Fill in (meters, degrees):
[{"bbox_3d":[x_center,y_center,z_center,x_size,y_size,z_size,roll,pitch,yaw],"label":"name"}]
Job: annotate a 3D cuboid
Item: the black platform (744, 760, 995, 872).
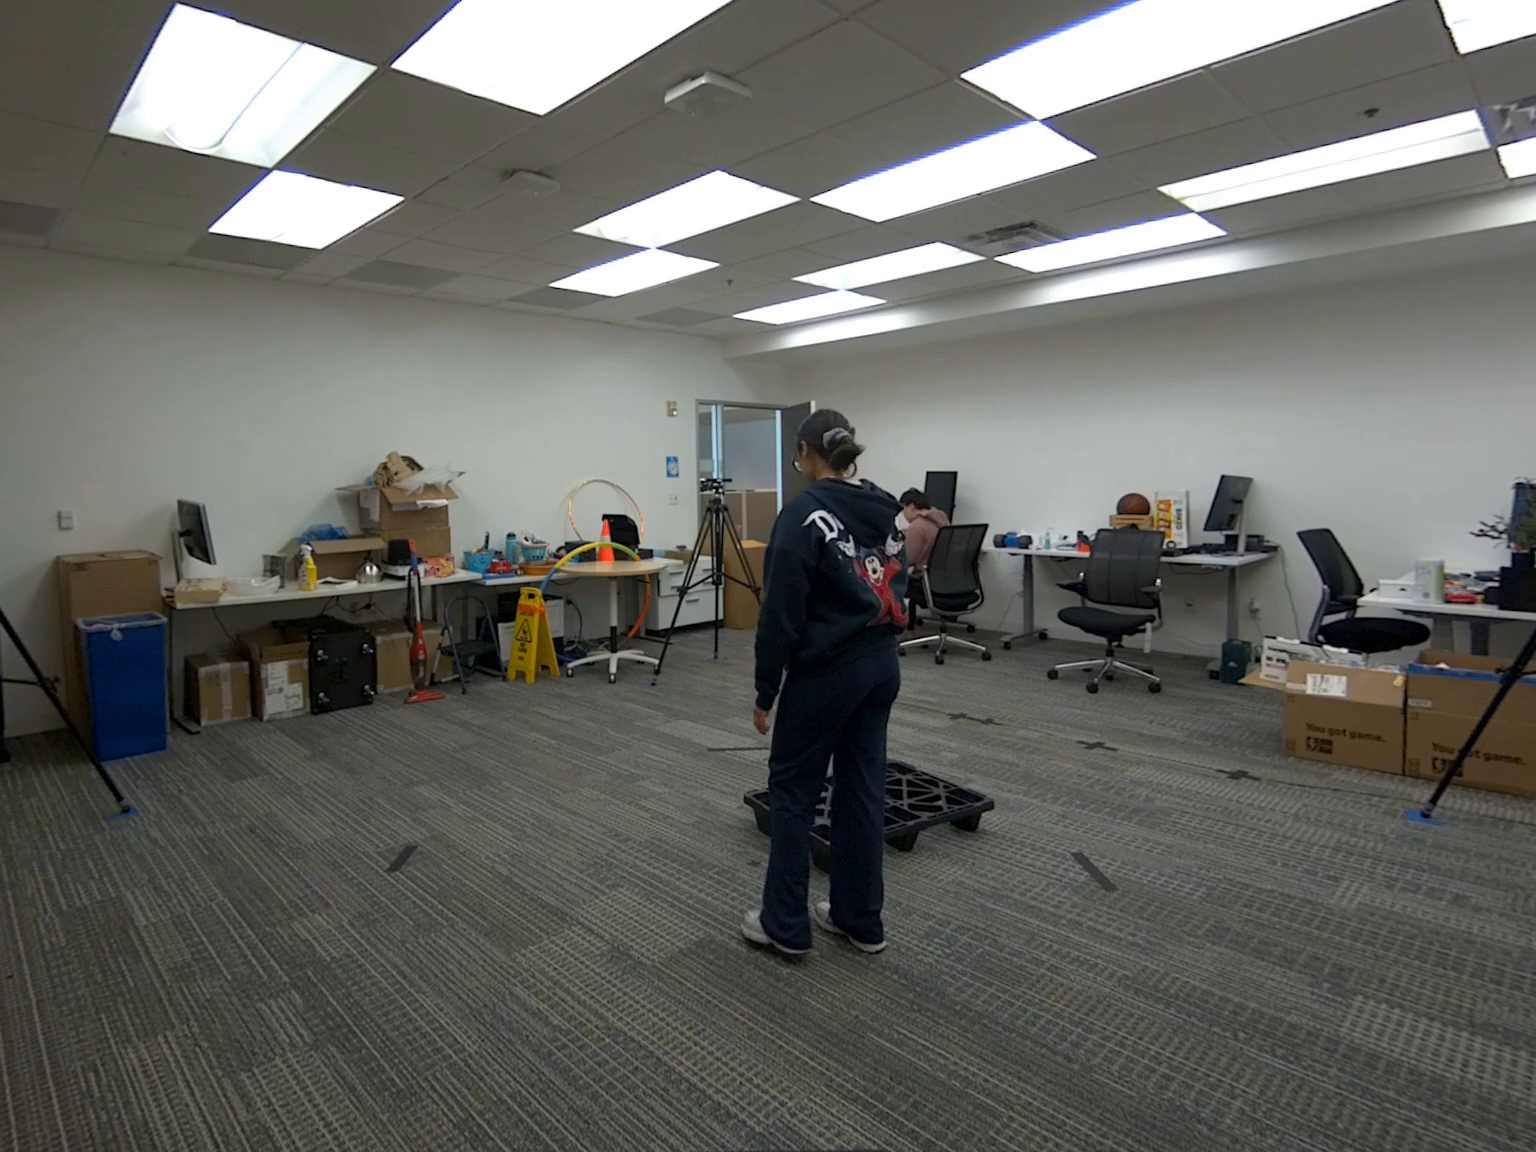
[{"bbox_3d":[0.390,0.938,3.381,0.786,0.143,0.622,-4,6,-31],"label":"black platform"}]
